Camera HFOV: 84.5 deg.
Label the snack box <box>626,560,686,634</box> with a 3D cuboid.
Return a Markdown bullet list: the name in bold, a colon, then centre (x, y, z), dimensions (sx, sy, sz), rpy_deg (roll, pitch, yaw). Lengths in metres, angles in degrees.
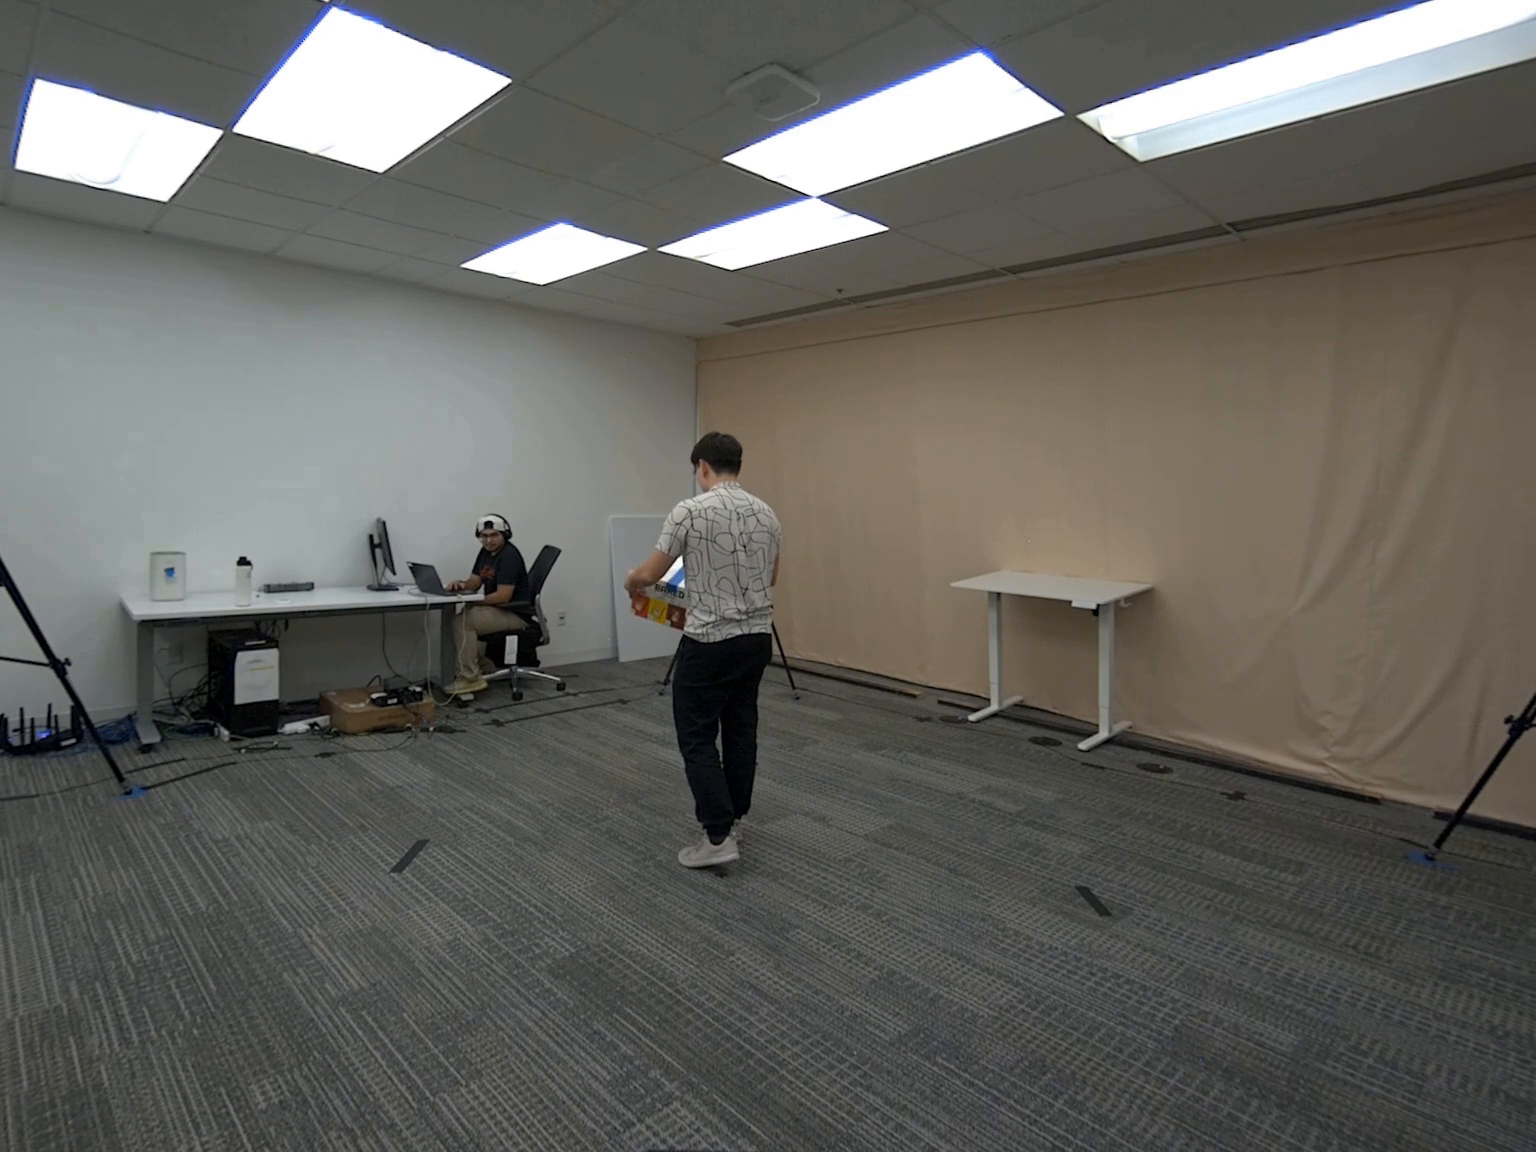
- **snack box**: centre (-0.379, 0.048, 3.761), dimensions (0.344, 0.203, 0.406), rpy_deg (16, 27, 11)
